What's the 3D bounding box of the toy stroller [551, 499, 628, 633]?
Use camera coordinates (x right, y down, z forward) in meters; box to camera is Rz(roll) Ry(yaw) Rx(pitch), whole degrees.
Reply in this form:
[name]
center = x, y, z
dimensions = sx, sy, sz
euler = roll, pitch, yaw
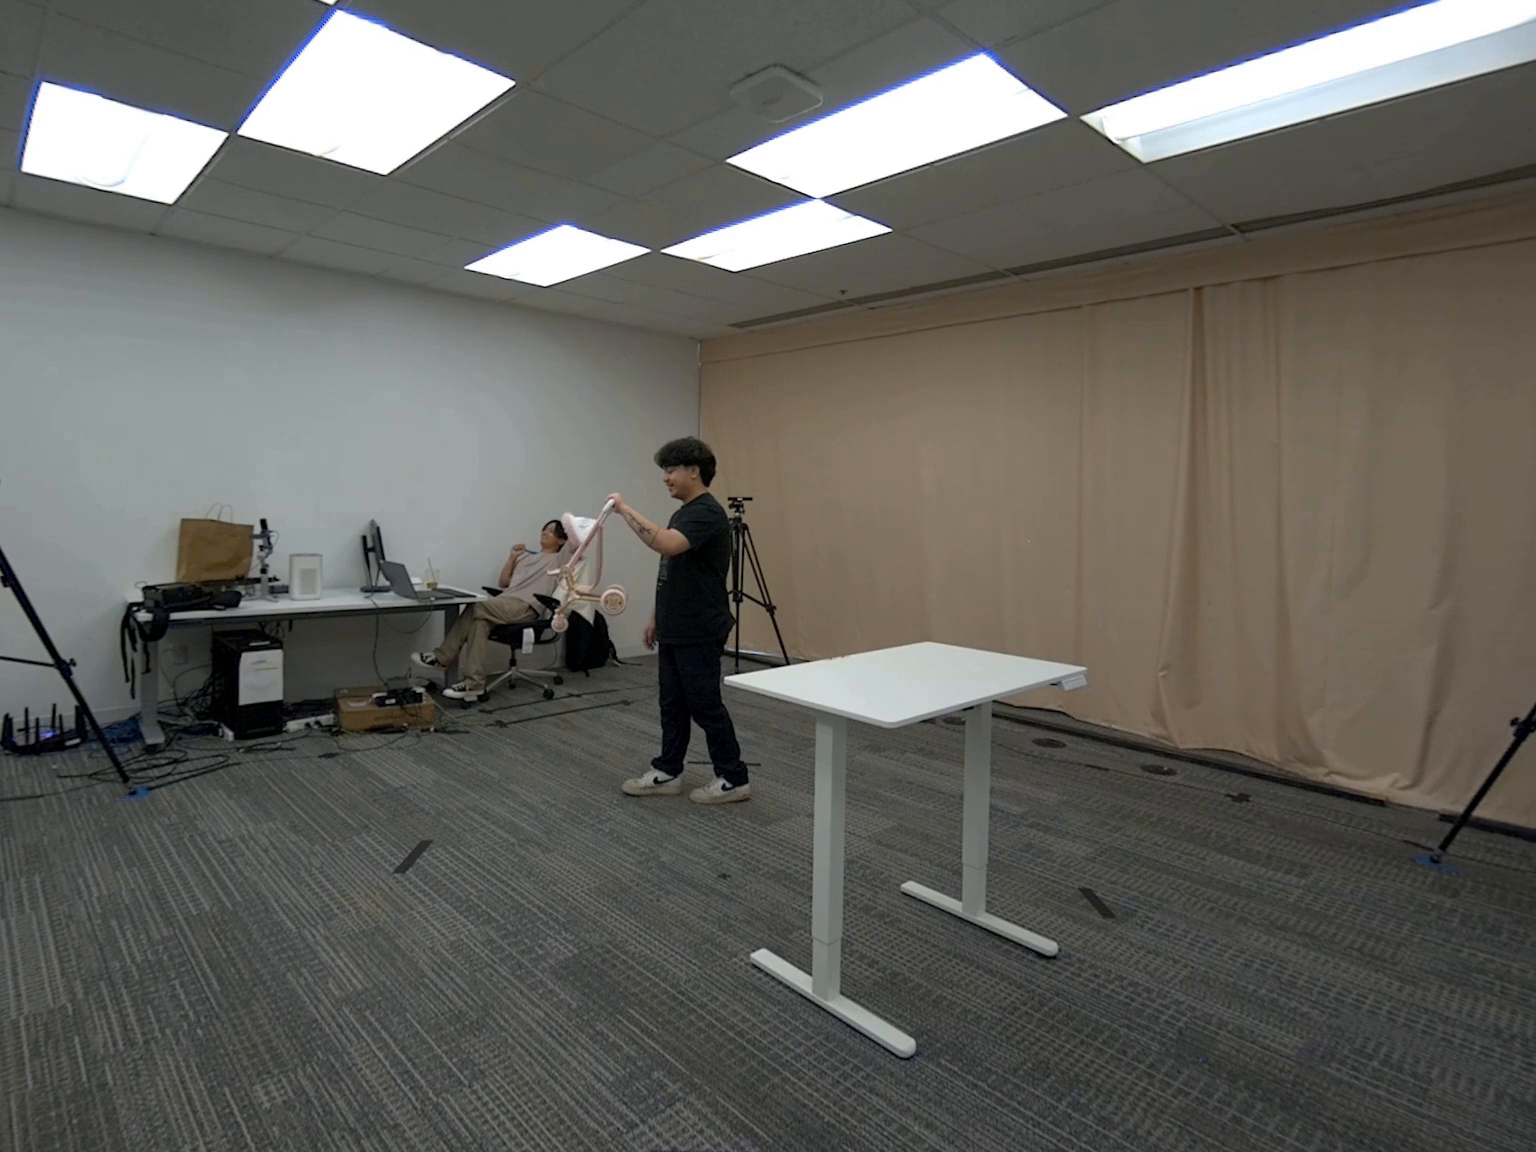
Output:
[toy stroller]
center = -0.797, -0.037, 3.606
dimensions = 0.341, 0.533, 0.283
euler = -7, 5, -2
